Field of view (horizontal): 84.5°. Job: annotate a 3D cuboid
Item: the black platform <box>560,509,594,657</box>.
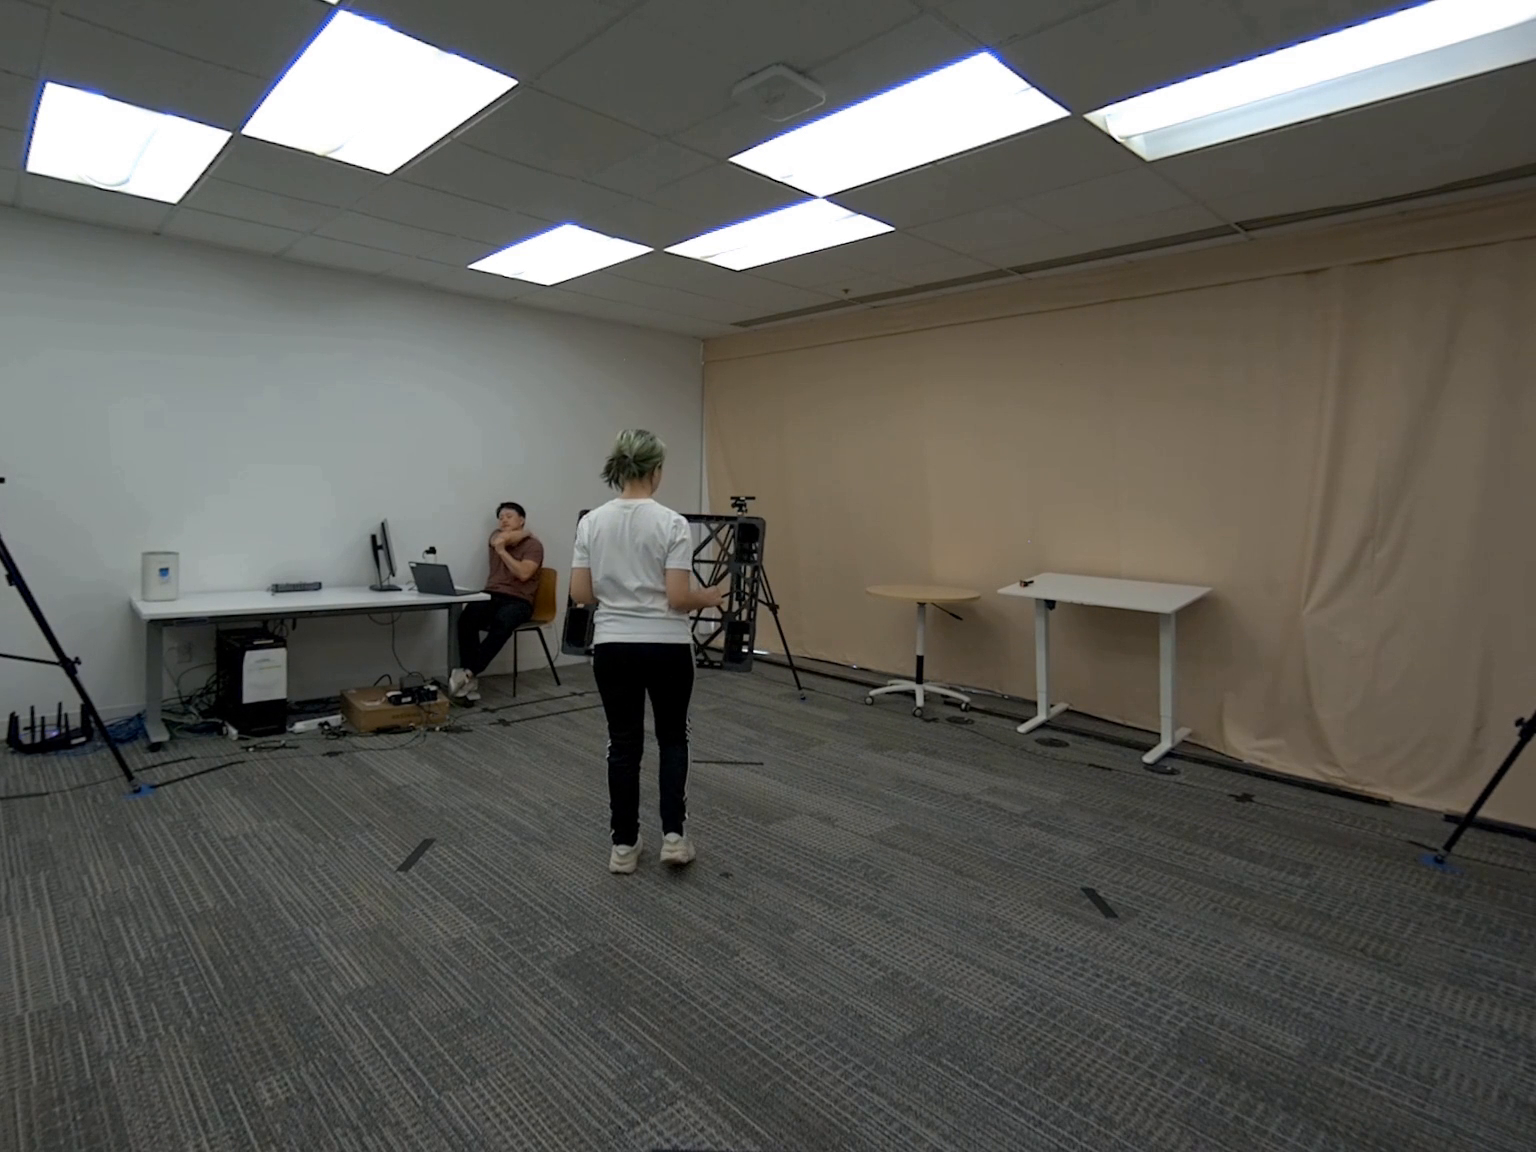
[{"bbox_3d":[-0.408,0.061,3.381,0.818,0.608,0.140,4,-9,18],"label":"black platform"}]
